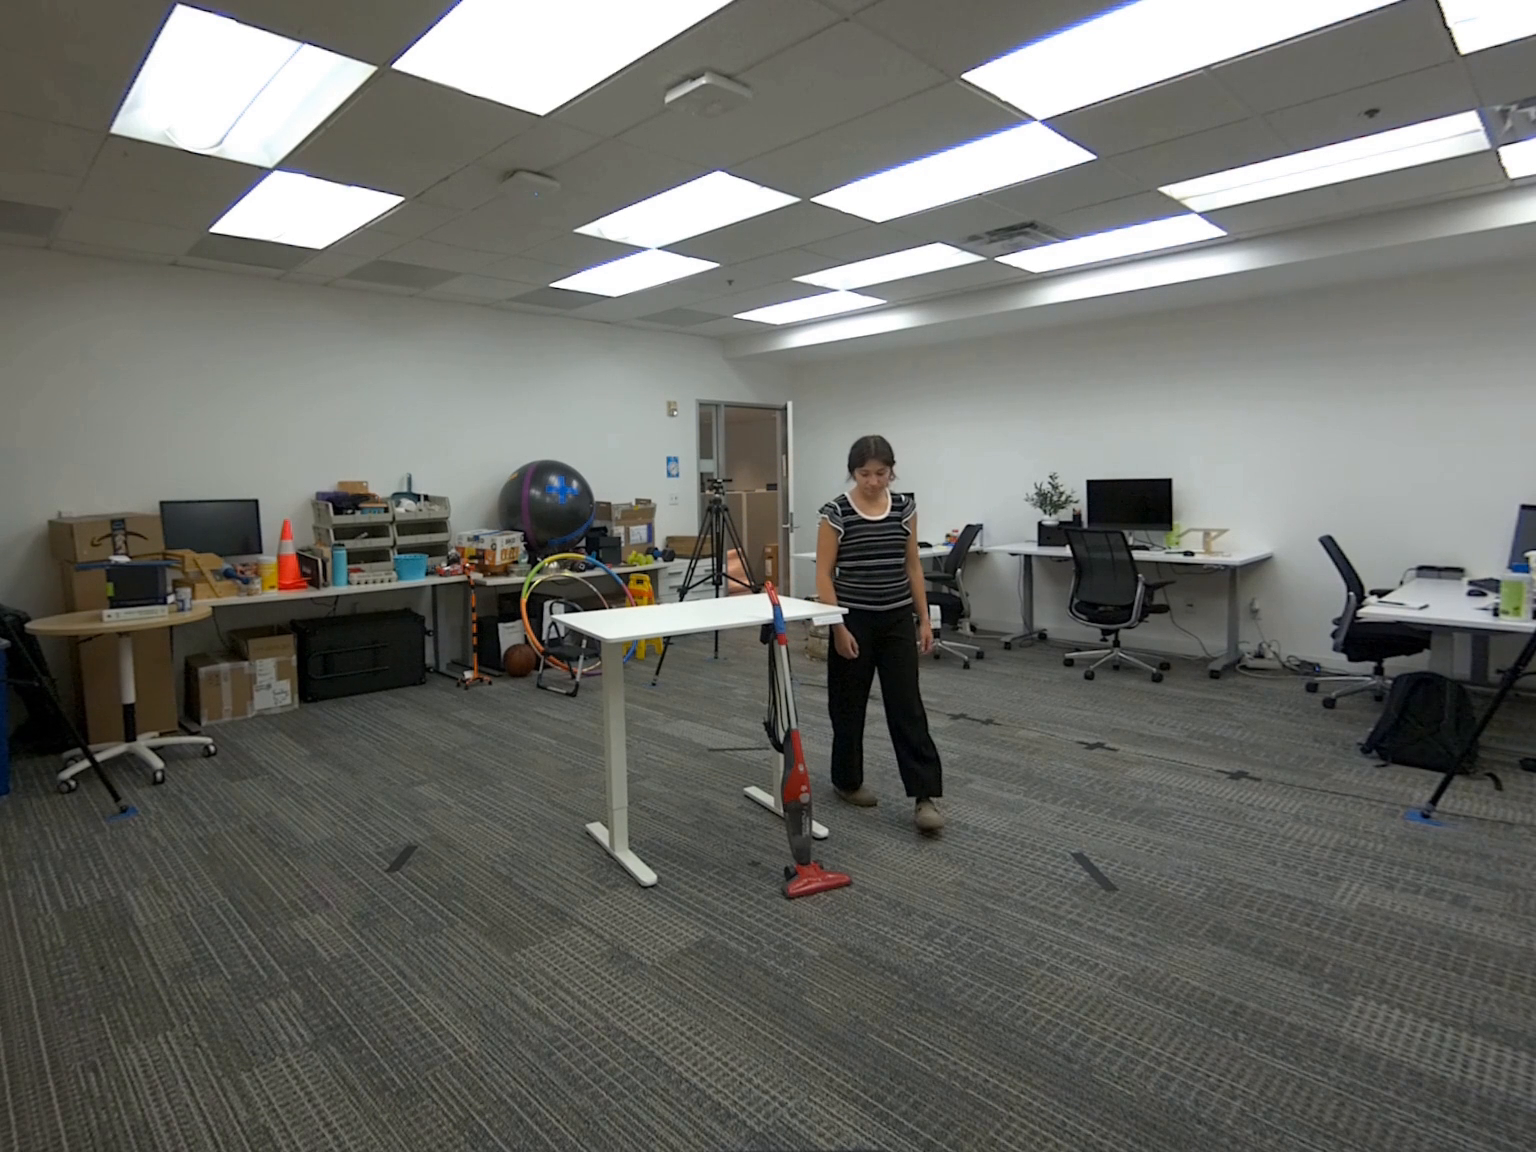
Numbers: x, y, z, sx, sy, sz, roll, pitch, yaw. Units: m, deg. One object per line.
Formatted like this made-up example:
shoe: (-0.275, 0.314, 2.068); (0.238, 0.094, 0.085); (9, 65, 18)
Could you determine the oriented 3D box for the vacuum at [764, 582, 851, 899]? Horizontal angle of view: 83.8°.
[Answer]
vacuum: (0.083, 0.557, 3.048); (0.247, 1.062, 0.145); (-2, -13, -24)
